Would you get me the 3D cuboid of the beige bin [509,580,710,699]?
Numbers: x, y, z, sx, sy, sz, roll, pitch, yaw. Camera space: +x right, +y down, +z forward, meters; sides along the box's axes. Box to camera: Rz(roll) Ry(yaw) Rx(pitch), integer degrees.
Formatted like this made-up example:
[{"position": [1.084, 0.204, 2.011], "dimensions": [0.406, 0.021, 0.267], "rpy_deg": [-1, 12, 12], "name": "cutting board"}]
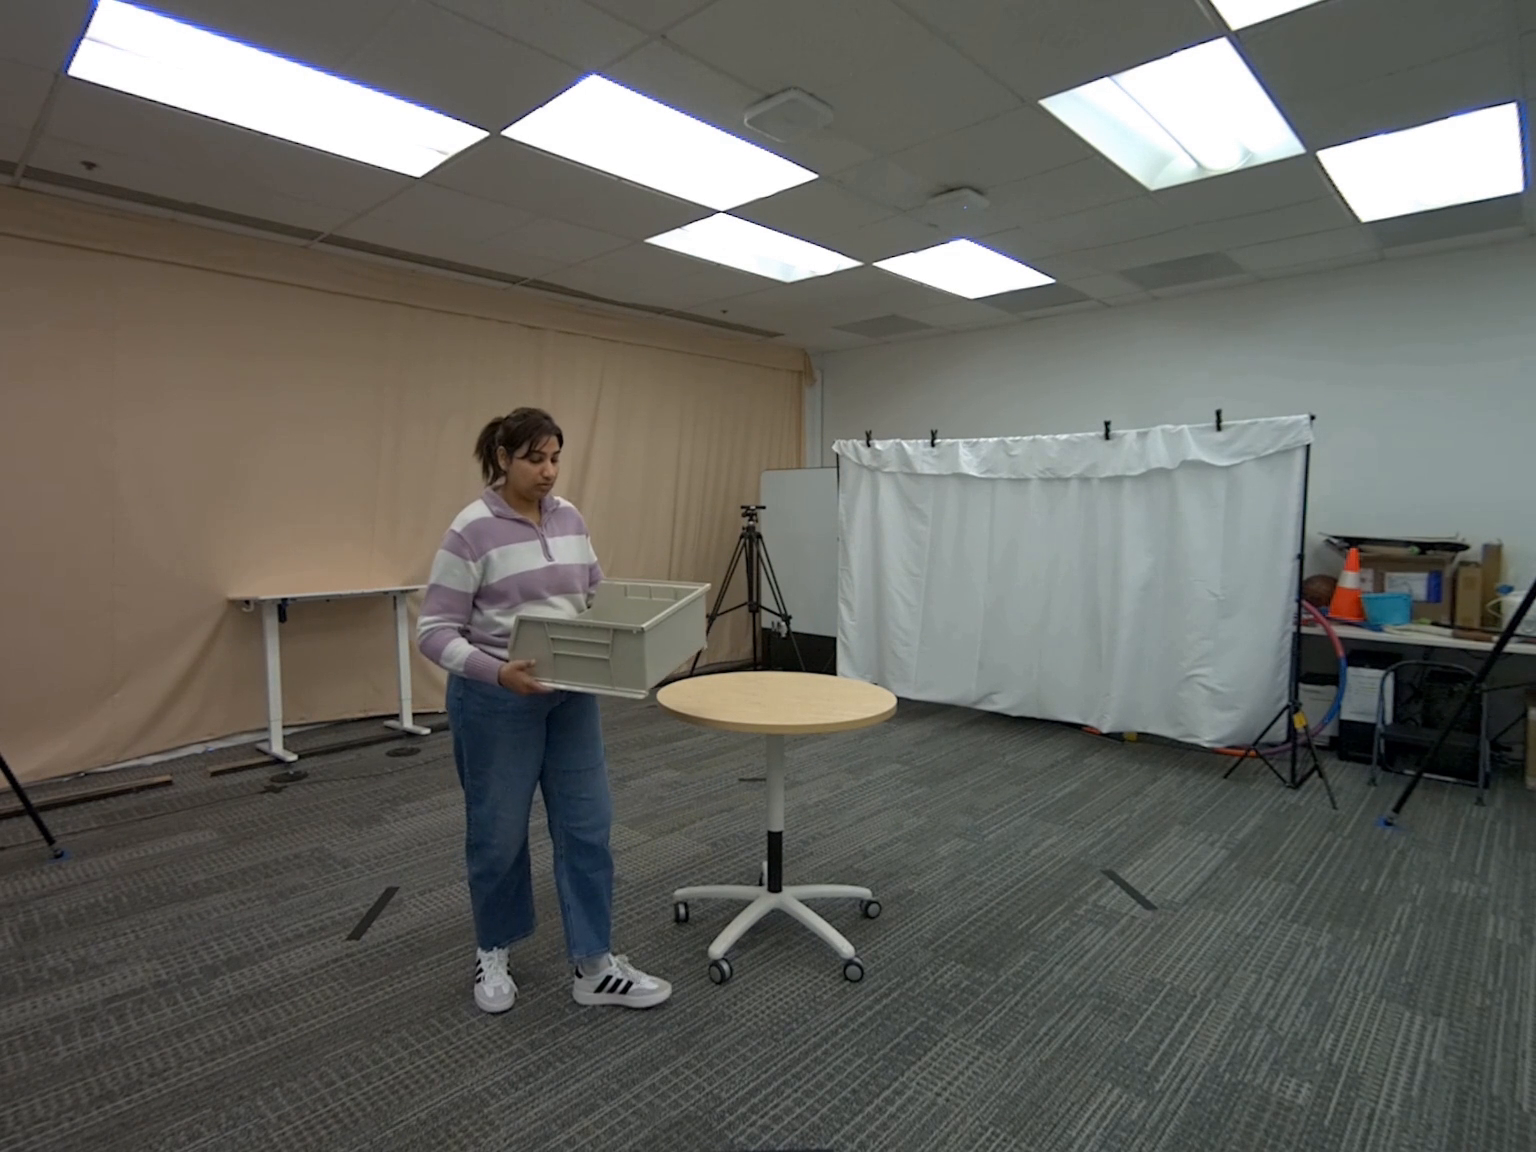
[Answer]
[{"position": [-0.383, 0.140, 2.167], "dimensions": [0.385, 0.188, 0.416], "rpy_deg": [3, 11, 18], "name": "beige bin"}]
